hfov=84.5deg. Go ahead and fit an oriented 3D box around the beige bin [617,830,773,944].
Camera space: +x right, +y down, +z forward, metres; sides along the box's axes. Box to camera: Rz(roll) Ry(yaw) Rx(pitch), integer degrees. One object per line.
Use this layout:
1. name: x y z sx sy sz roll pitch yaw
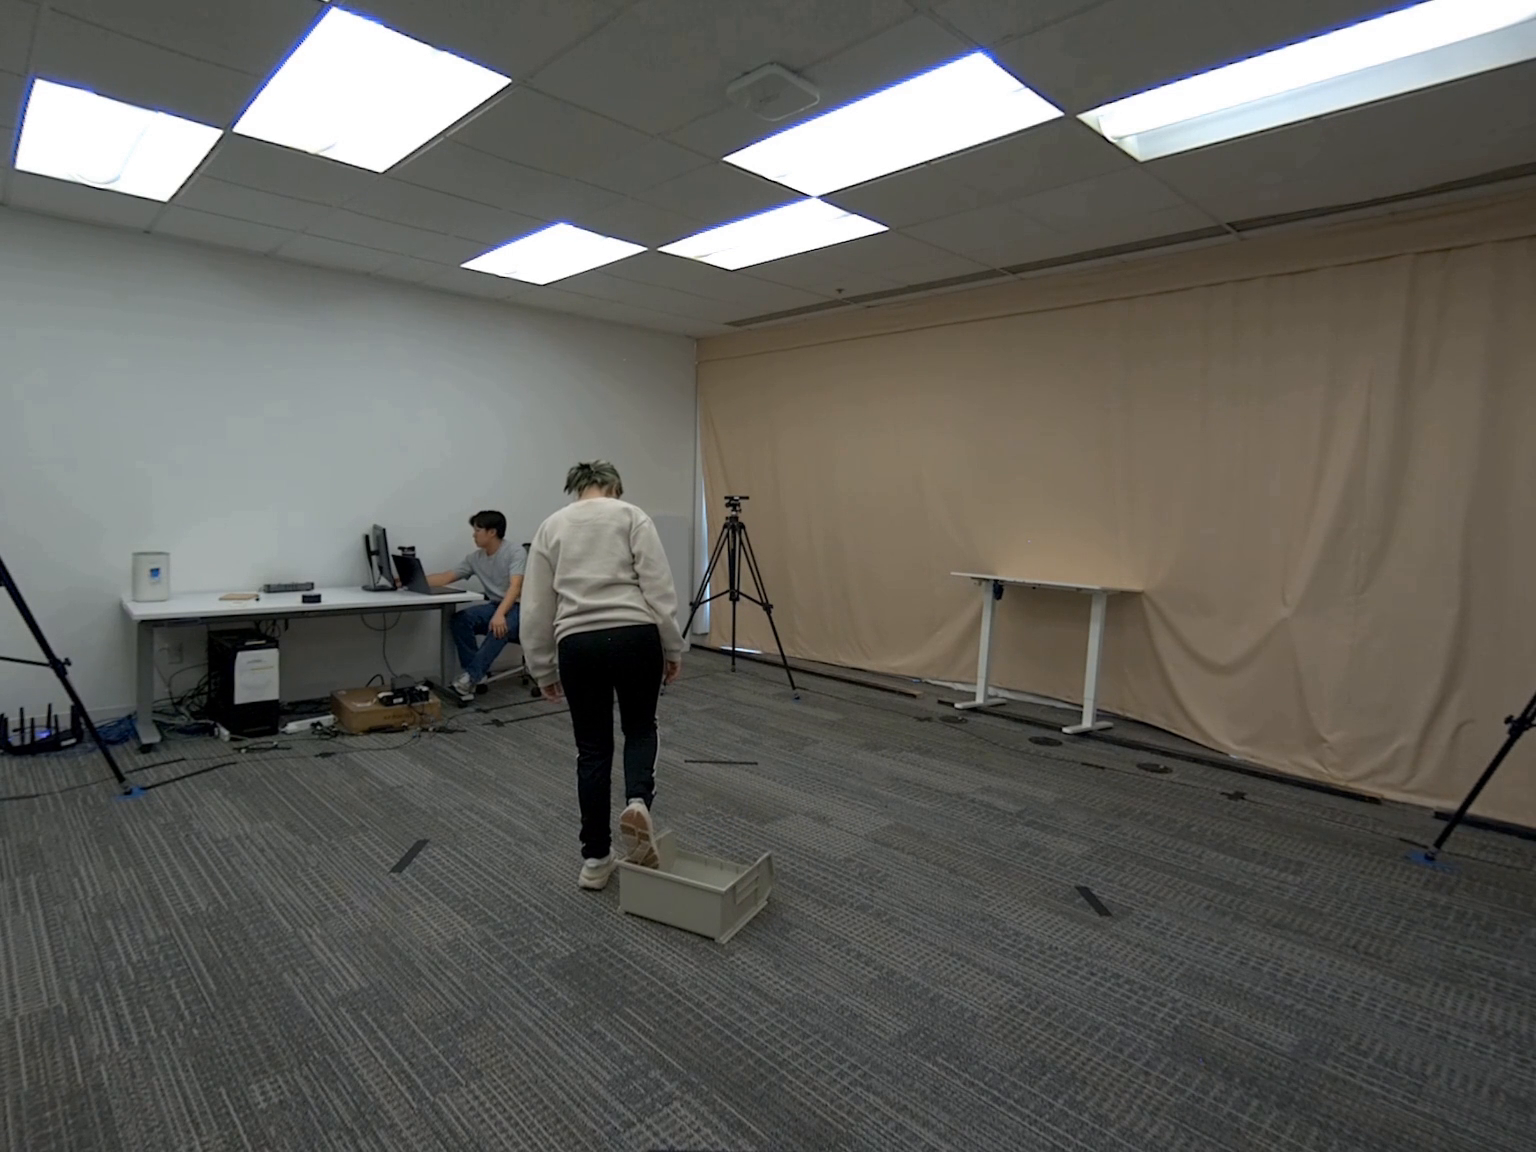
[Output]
1. beige bin: -0.250 1.029 2.862 0.431 0.188 0.371 3 6 27
